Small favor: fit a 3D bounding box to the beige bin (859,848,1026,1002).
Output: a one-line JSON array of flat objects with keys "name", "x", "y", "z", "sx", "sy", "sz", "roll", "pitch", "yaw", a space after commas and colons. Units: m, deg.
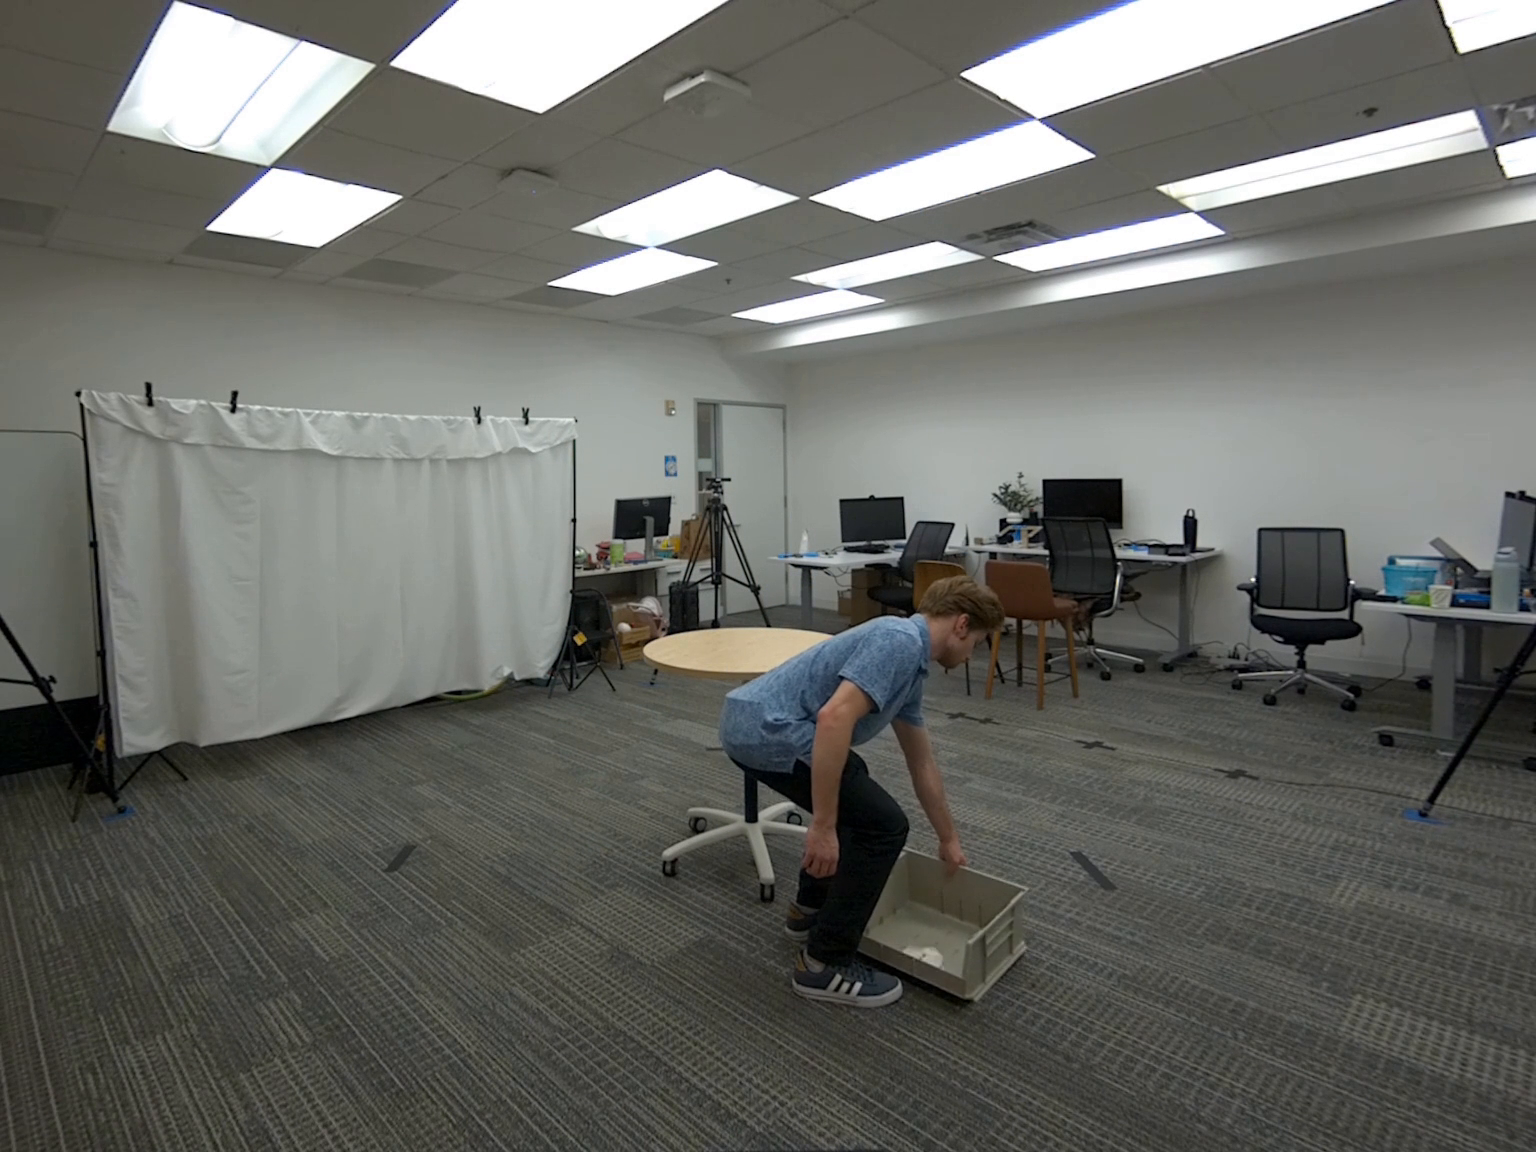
[{"name": "beige bin", "x": 0.485, "y": 1.006, "z": 2.491, "sx": 0.435, "sy": 0.188, "sz": 0.368, "roll": 4, "pitch": 11, "yaw": 42}]
